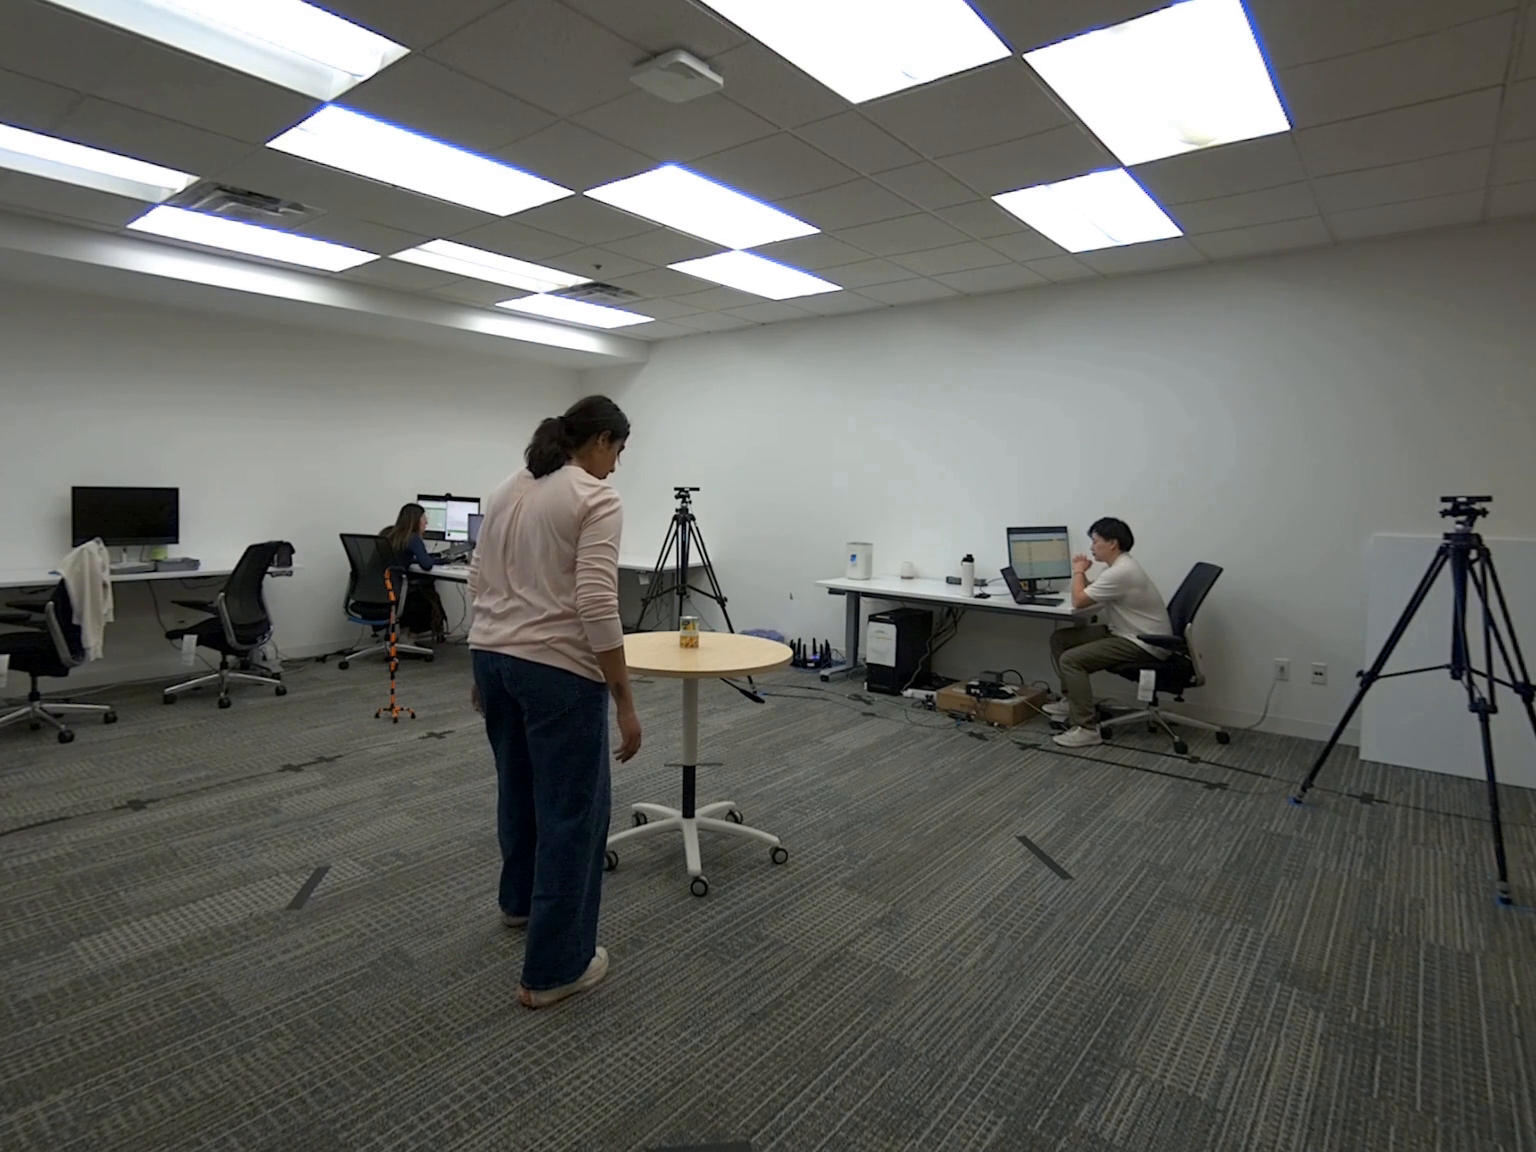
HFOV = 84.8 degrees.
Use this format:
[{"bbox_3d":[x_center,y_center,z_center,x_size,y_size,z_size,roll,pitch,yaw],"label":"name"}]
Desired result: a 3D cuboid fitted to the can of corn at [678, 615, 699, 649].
[{"bbox_3d":[-0.312,0.211,3.244,0.074,0.111,0.074,2,3,-2],"label":"can of corn"}]
